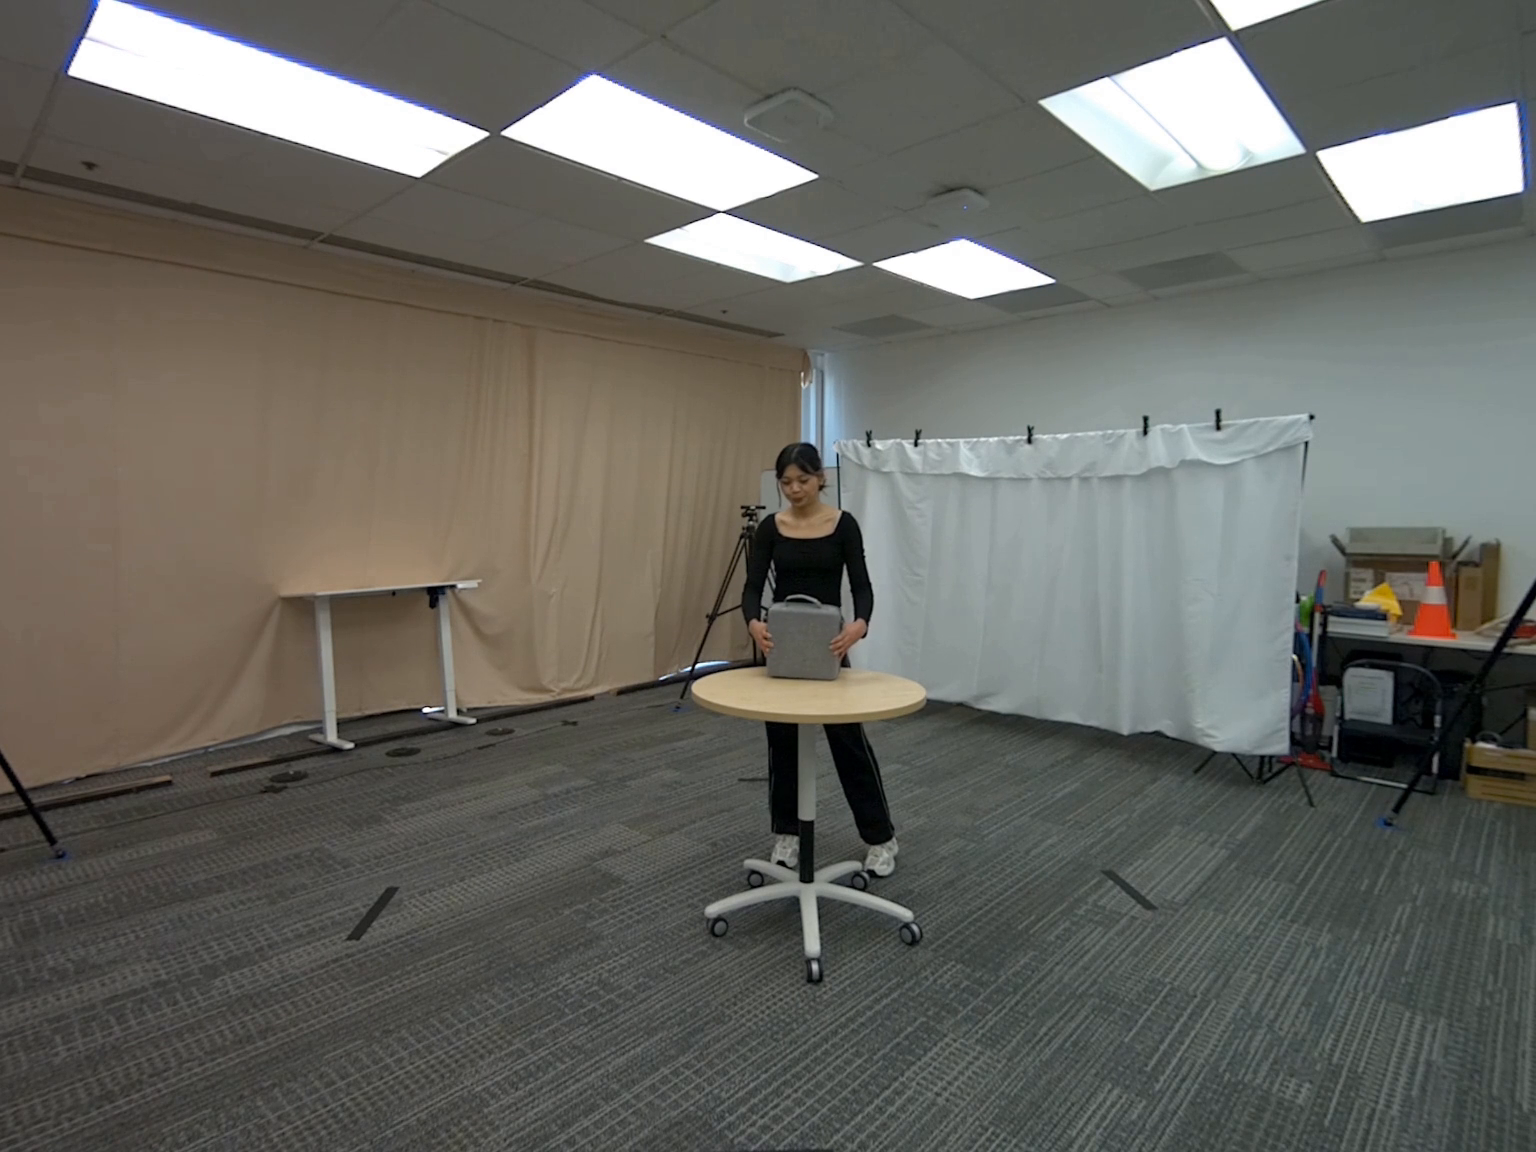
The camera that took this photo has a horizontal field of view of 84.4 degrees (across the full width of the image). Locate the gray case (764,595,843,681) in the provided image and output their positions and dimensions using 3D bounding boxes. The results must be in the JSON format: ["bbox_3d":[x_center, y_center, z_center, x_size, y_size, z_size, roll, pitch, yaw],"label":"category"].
[{"bbox_3d":[0.125,0.222,2.923,0.260,0.259,0.104,2,11,10],"label":"gray case"}]
